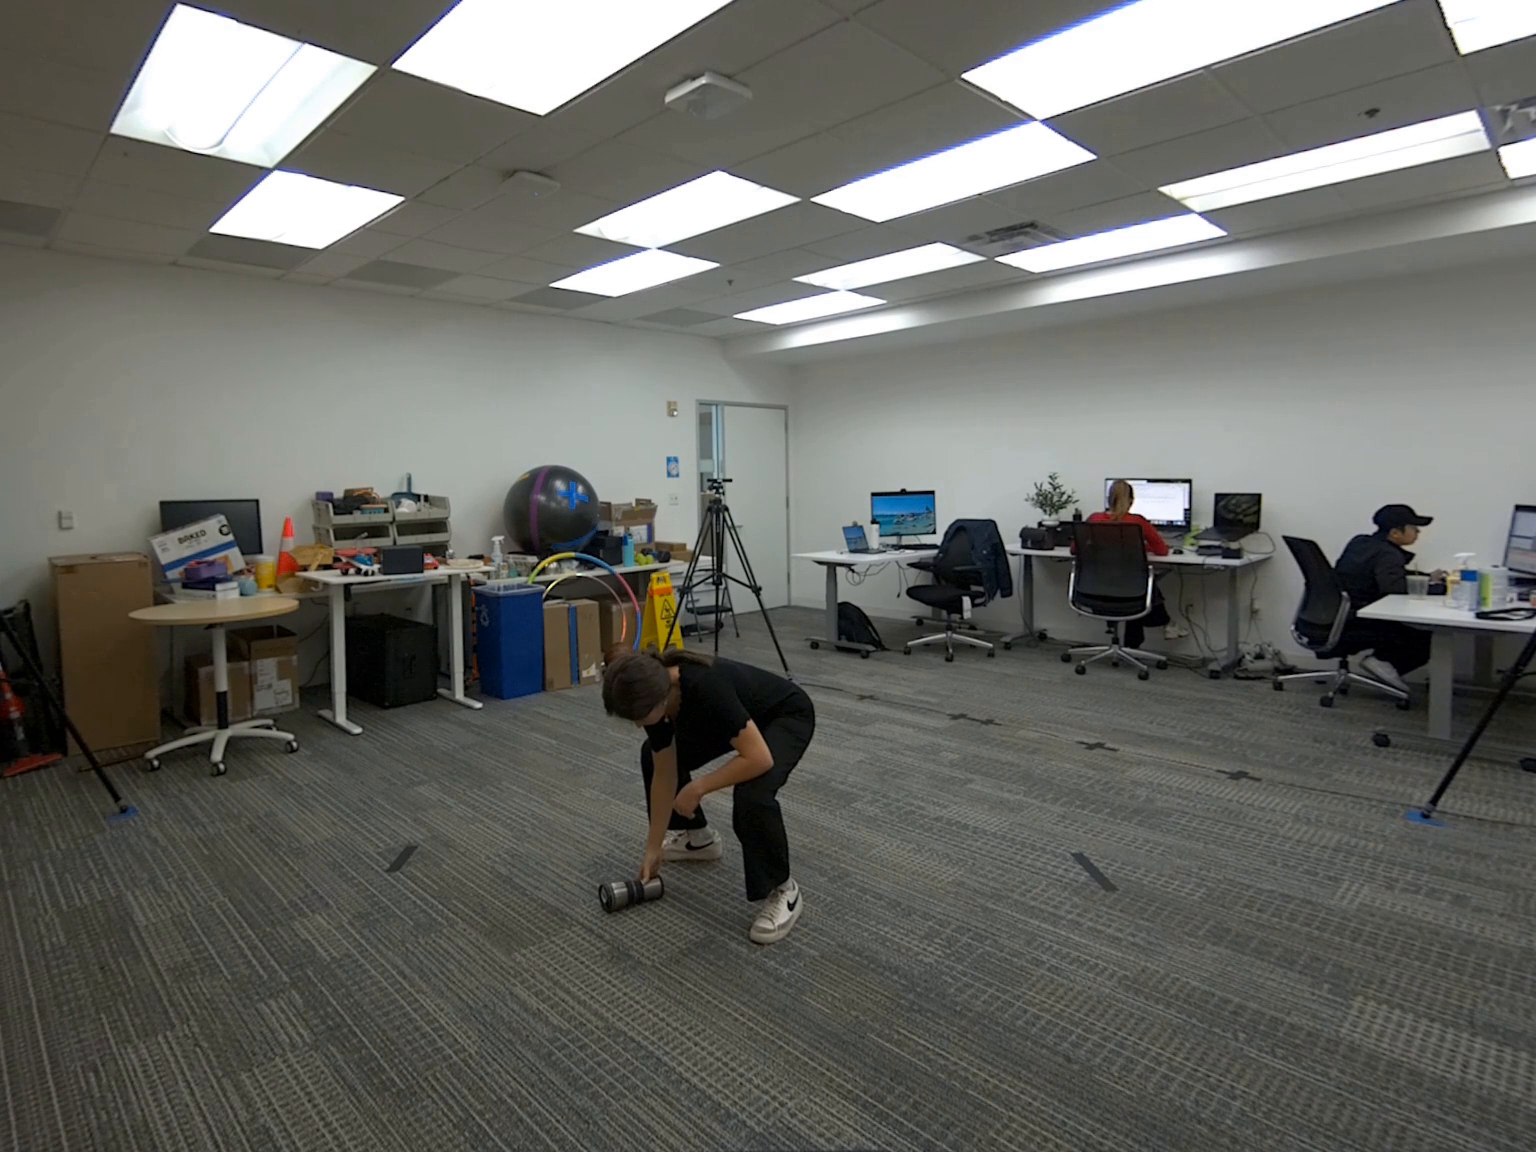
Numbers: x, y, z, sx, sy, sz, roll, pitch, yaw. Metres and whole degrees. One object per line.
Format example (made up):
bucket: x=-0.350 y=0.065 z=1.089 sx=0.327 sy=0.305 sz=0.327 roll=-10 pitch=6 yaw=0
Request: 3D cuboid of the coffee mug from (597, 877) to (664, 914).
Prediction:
coffee mug: x=-0.454 y=1.037 z=2.836 sx=0.198 sy=0.087 sz=0.126 roll=-4 pitch=21 yaw=-31
